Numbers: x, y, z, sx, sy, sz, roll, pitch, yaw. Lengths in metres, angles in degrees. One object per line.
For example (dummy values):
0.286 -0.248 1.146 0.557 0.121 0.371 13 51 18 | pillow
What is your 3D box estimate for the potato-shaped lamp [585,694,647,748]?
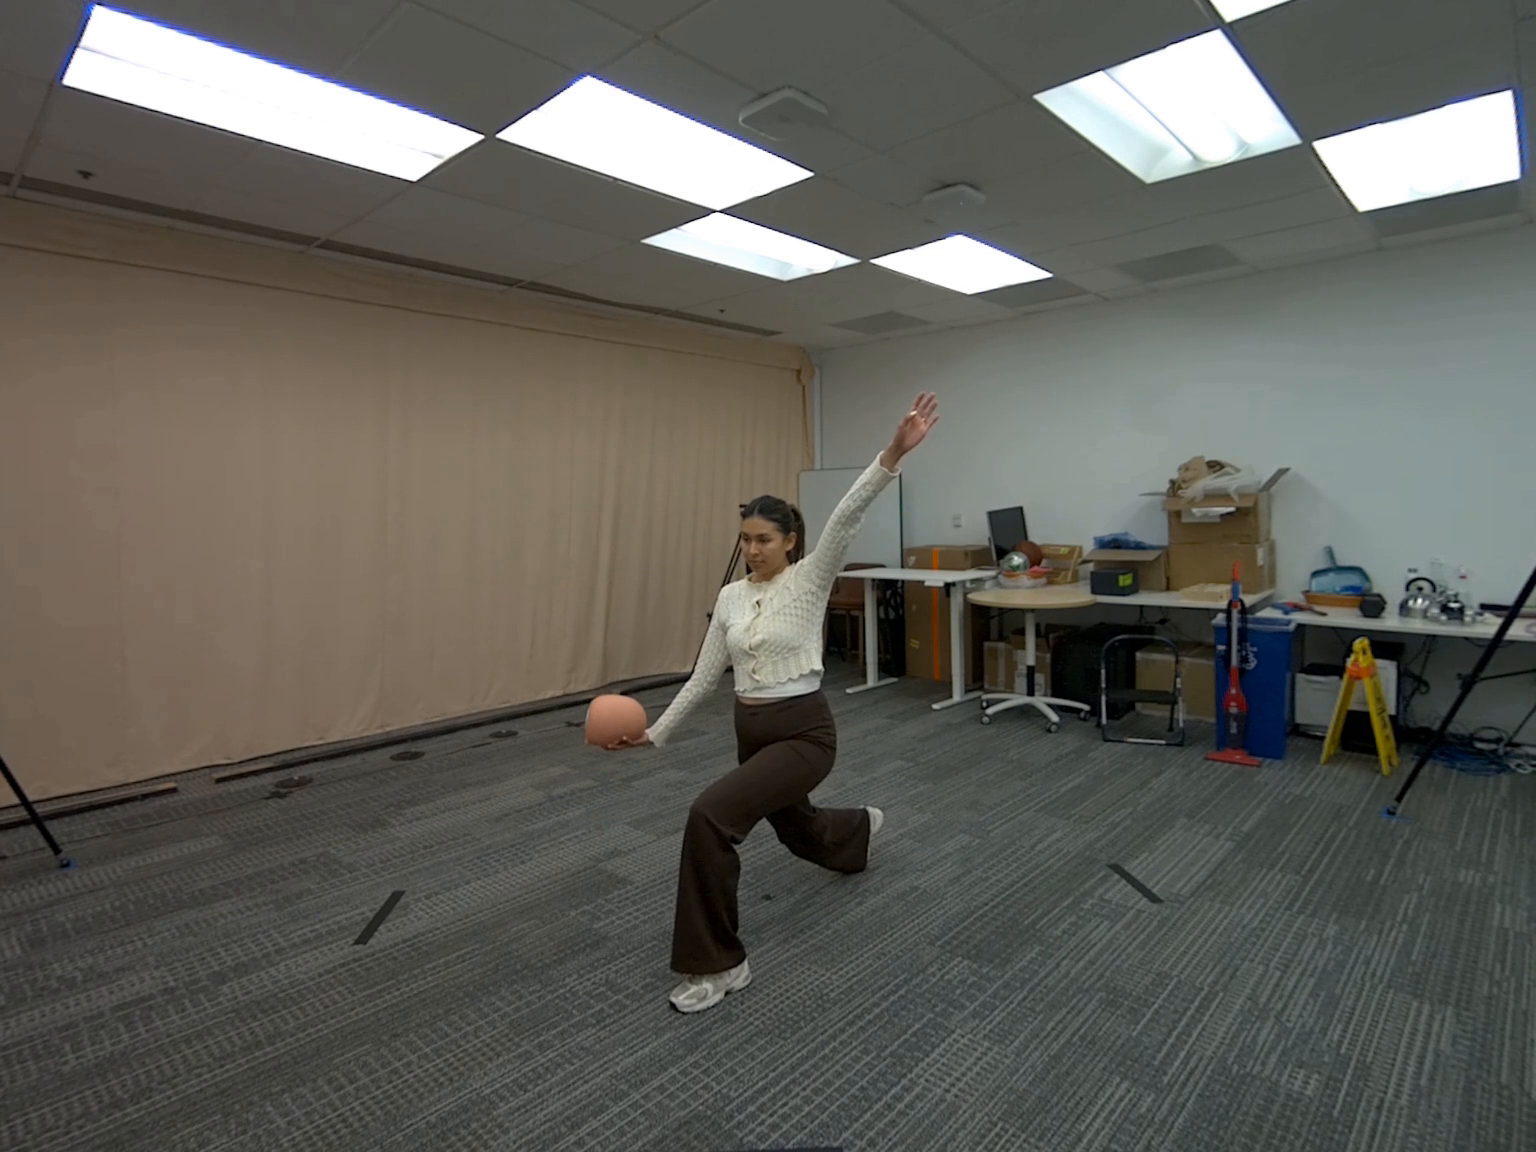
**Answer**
-0.502 0.488 2.808 0.197 0.170 0.167 9 18 -5 | potato-shaped lamp
